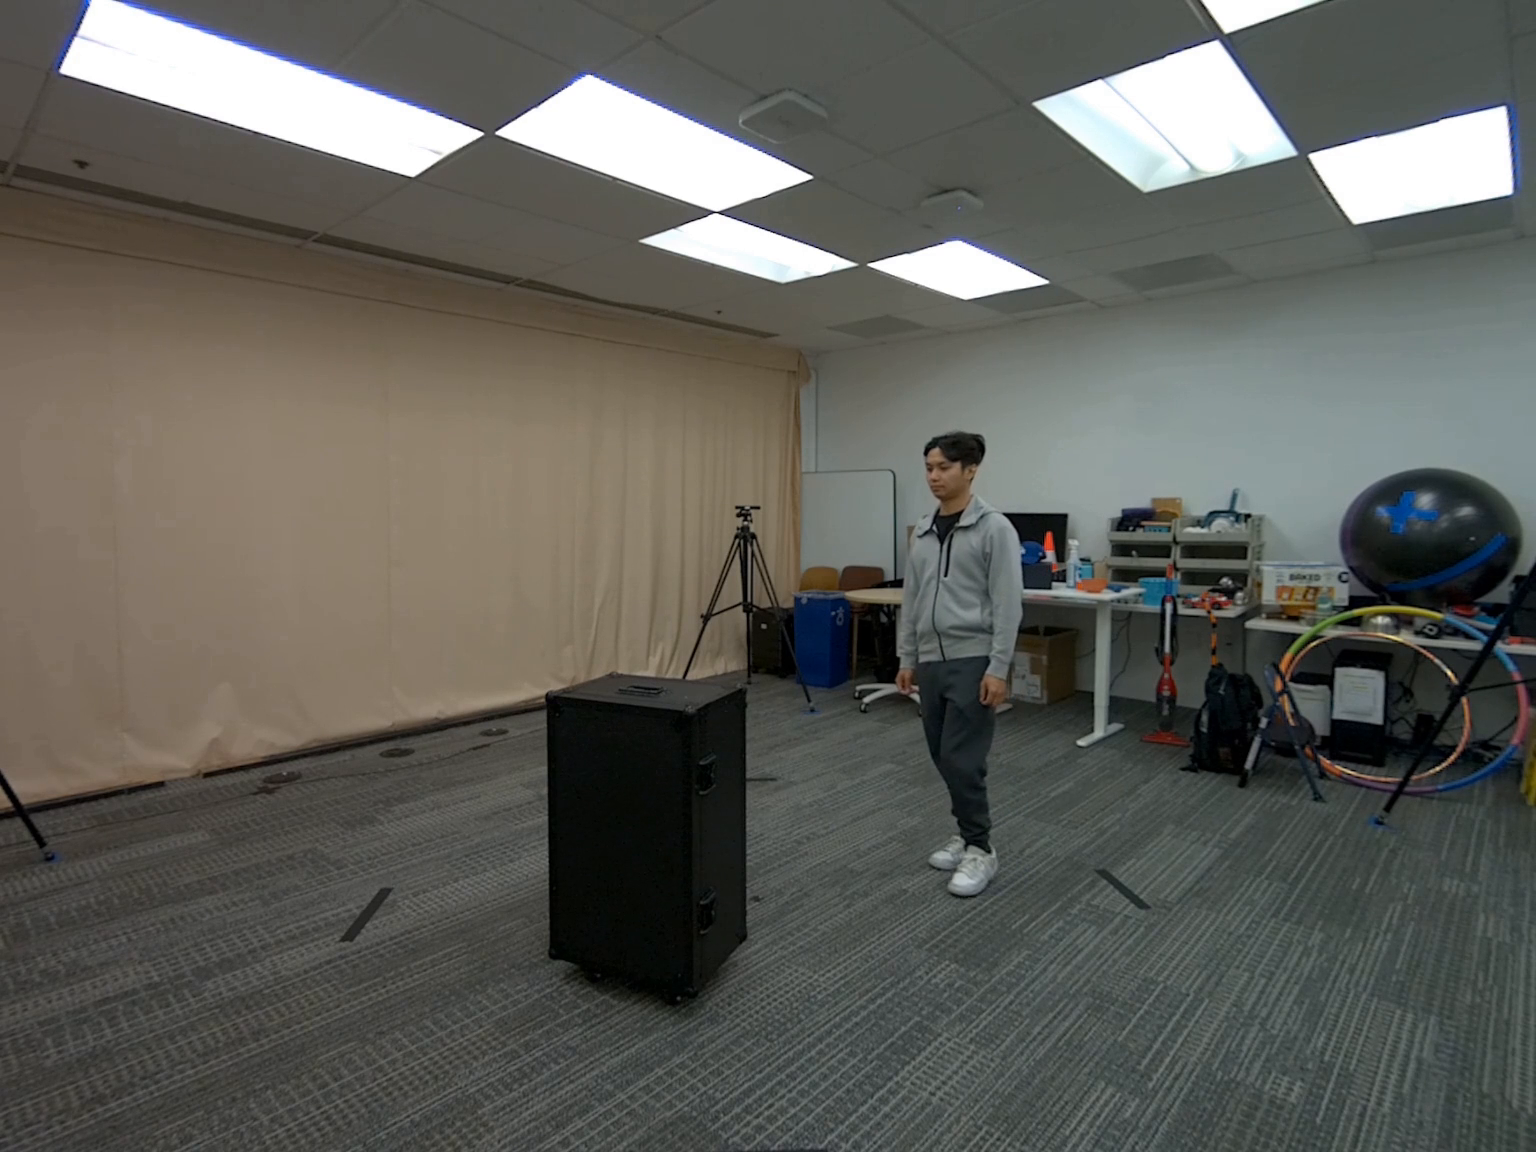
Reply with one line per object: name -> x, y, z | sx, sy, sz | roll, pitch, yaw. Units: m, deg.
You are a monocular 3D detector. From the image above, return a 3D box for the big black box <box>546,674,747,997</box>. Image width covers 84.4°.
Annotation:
big black box -> -0.353, 0.761, 2.513 | 0.535, 0.860, 0.387 | 1, 2, 25
